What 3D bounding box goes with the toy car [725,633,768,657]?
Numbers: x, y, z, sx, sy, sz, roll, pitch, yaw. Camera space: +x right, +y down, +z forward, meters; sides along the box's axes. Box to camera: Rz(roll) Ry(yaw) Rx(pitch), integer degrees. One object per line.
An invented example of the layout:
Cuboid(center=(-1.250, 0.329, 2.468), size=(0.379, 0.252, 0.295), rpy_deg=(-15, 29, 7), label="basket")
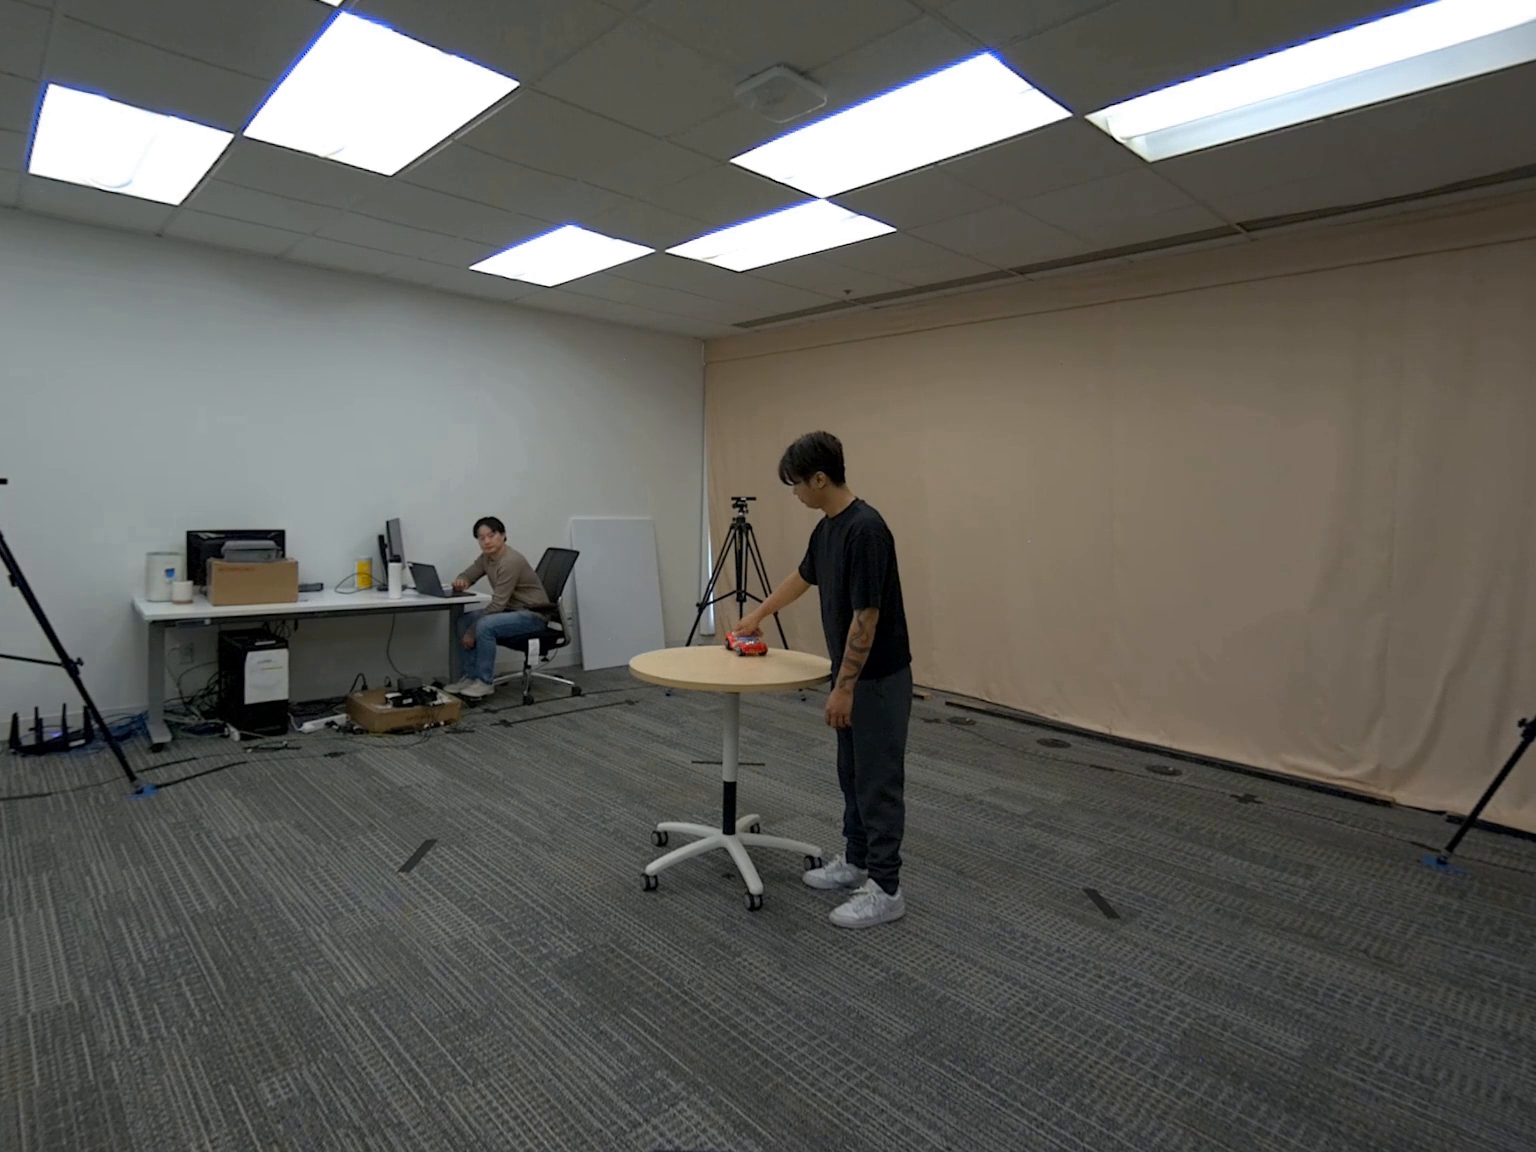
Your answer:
Cuboid(center=(-0.106, 0.272, 3.372), size=(0.128, 0.082, 0.260), rpy_deg=(1, 15, -19), label="toy car")
